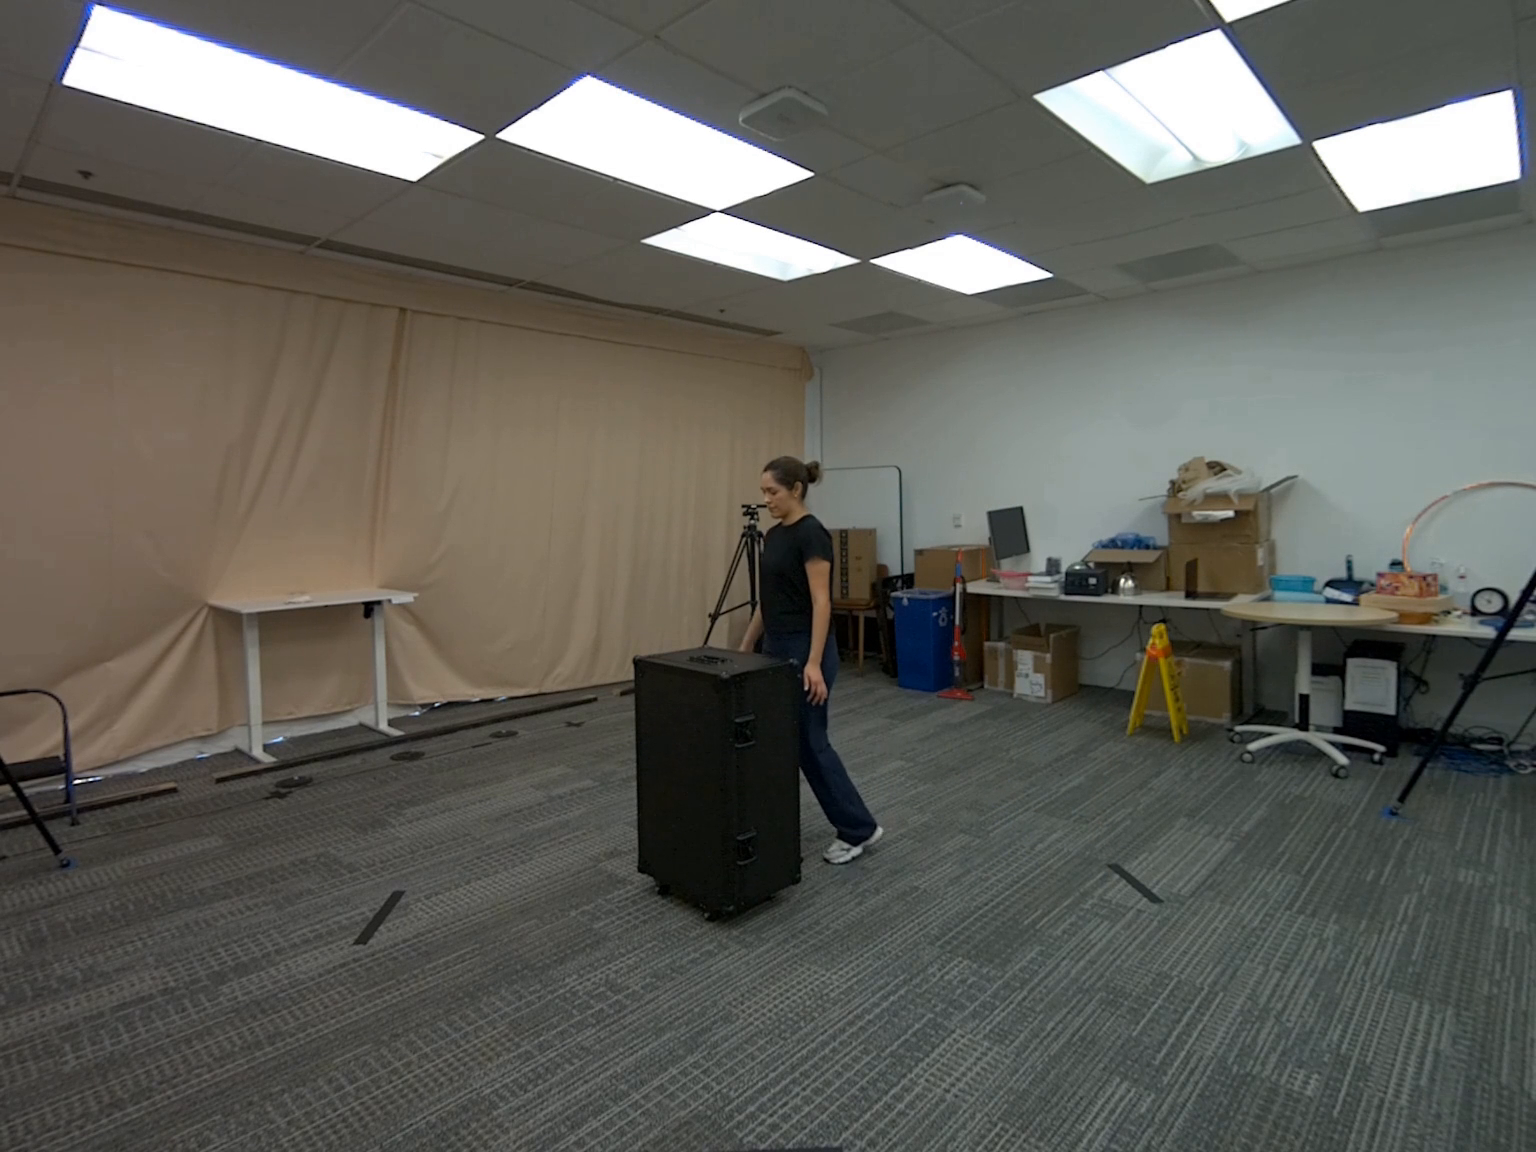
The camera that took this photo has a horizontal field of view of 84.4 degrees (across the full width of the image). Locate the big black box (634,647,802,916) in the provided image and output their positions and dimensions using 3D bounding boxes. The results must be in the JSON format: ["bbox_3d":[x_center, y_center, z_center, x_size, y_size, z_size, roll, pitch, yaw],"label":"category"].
[{"bbox_3d":[-0.169,0.721,2.996,0.538,0.860,0.384,3,4,45],"label":"big black box"}]
